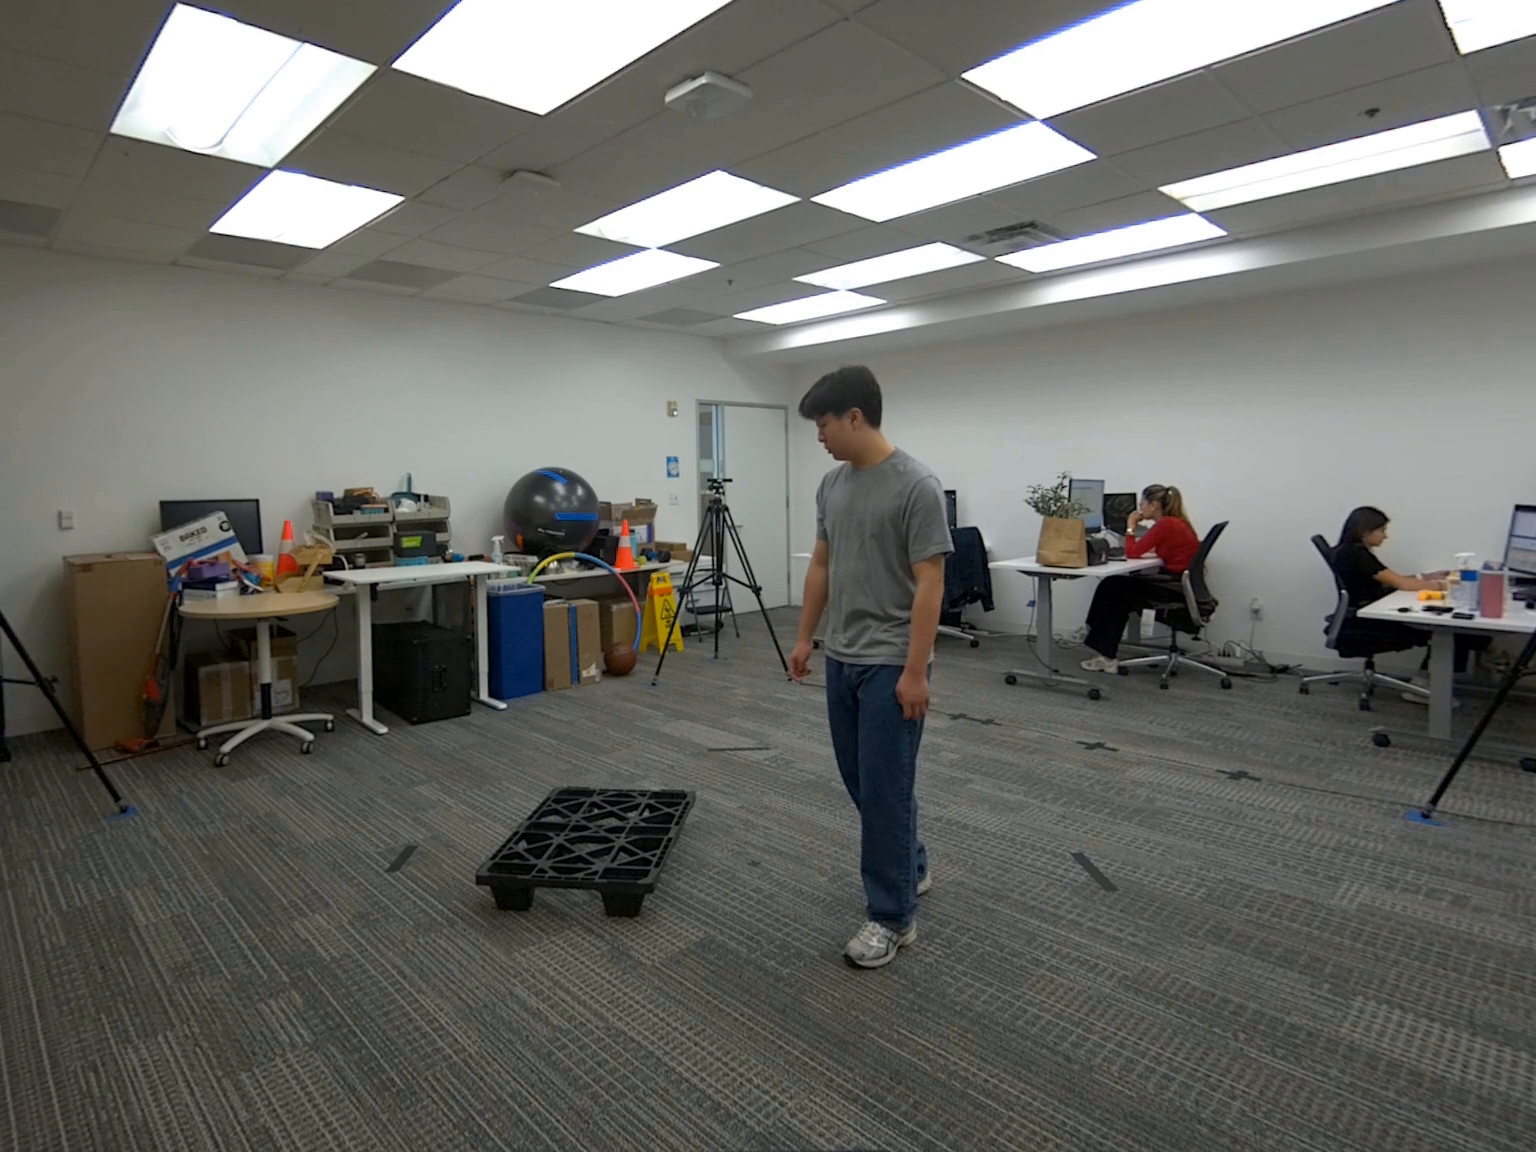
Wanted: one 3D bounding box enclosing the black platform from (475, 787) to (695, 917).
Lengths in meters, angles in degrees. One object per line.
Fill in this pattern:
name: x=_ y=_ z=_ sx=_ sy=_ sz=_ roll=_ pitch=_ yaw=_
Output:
black platform: x=-0.613 y=0.983 z=3.128 sx=0.610 sy=0.142 sz=0.803 roll=0 pitch=7 yaw=7
